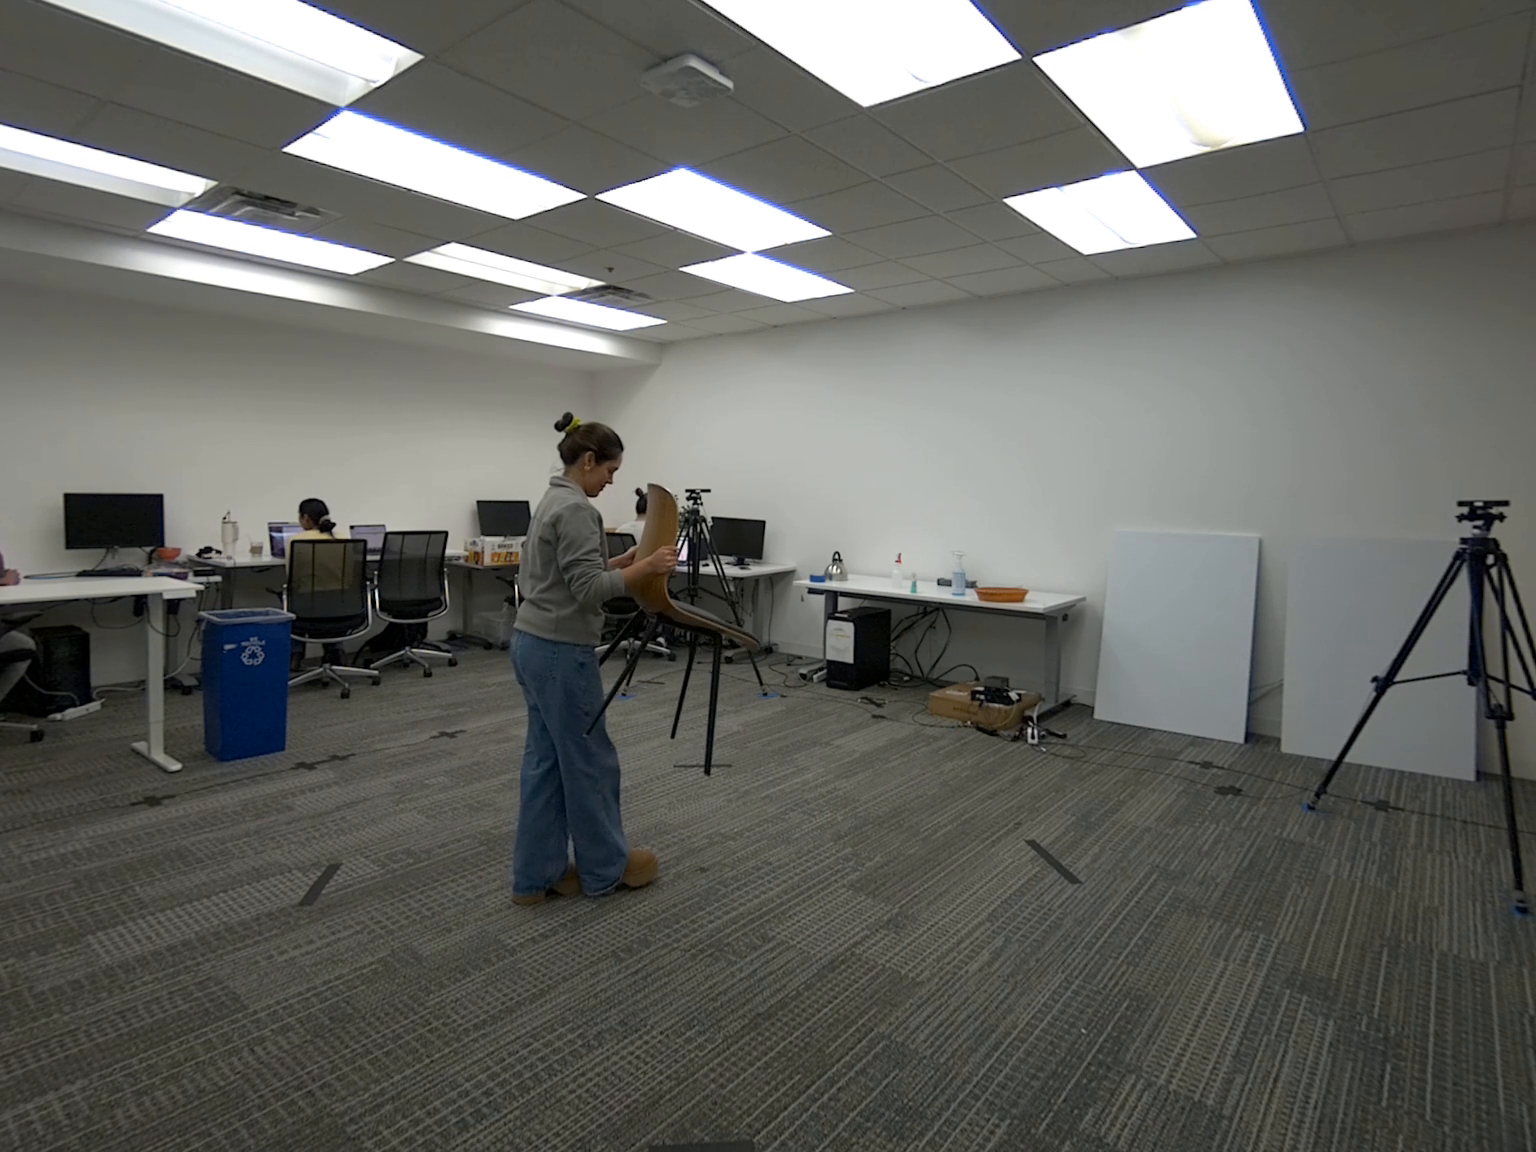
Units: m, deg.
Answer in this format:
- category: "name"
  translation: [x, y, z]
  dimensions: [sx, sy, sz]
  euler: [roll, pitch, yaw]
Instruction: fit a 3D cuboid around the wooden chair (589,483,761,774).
- category: "wooden chair"
  translation: [-0.320, 0.177, 3.003]
  dimensions: [0.510, 0.879, 0.489]
  euler: [18, -4, -21]
